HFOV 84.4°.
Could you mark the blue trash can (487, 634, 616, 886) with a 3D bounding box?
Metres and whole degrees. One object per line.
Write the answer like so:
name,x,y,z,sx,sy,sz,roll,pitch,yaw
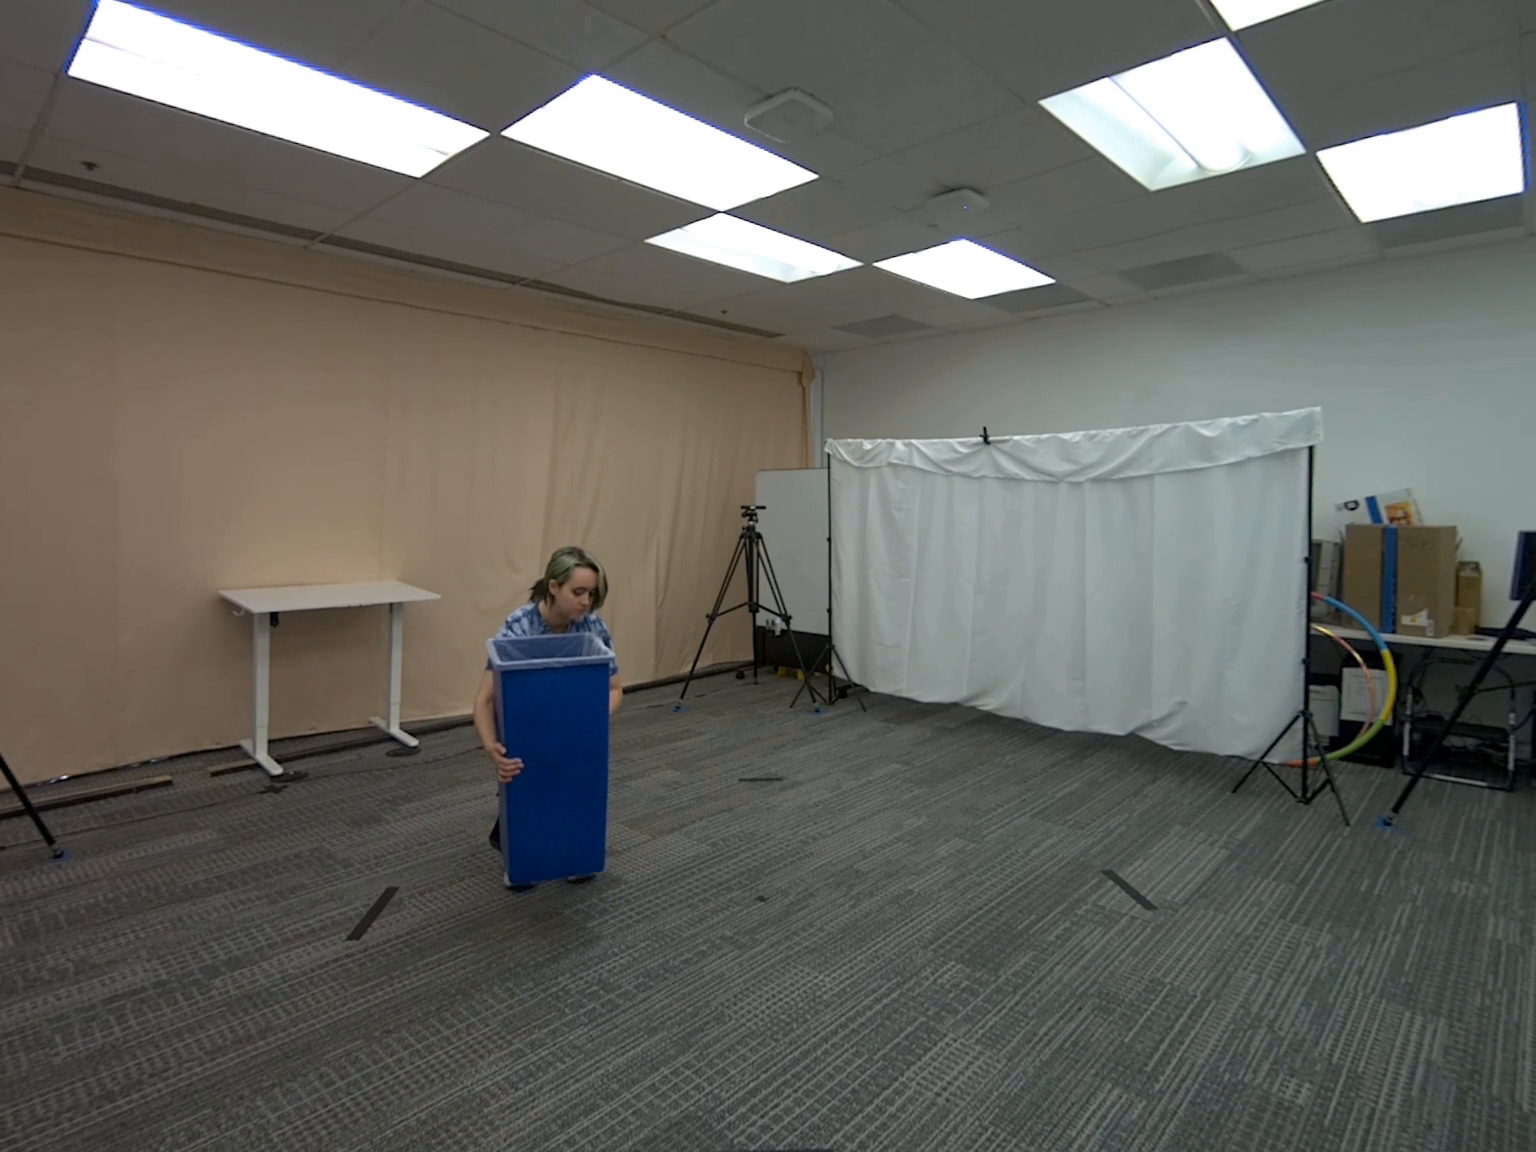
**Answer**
blue trash can,-0.716,0.581,2.744,0.366,0.711,0.387,-1,7,-22
